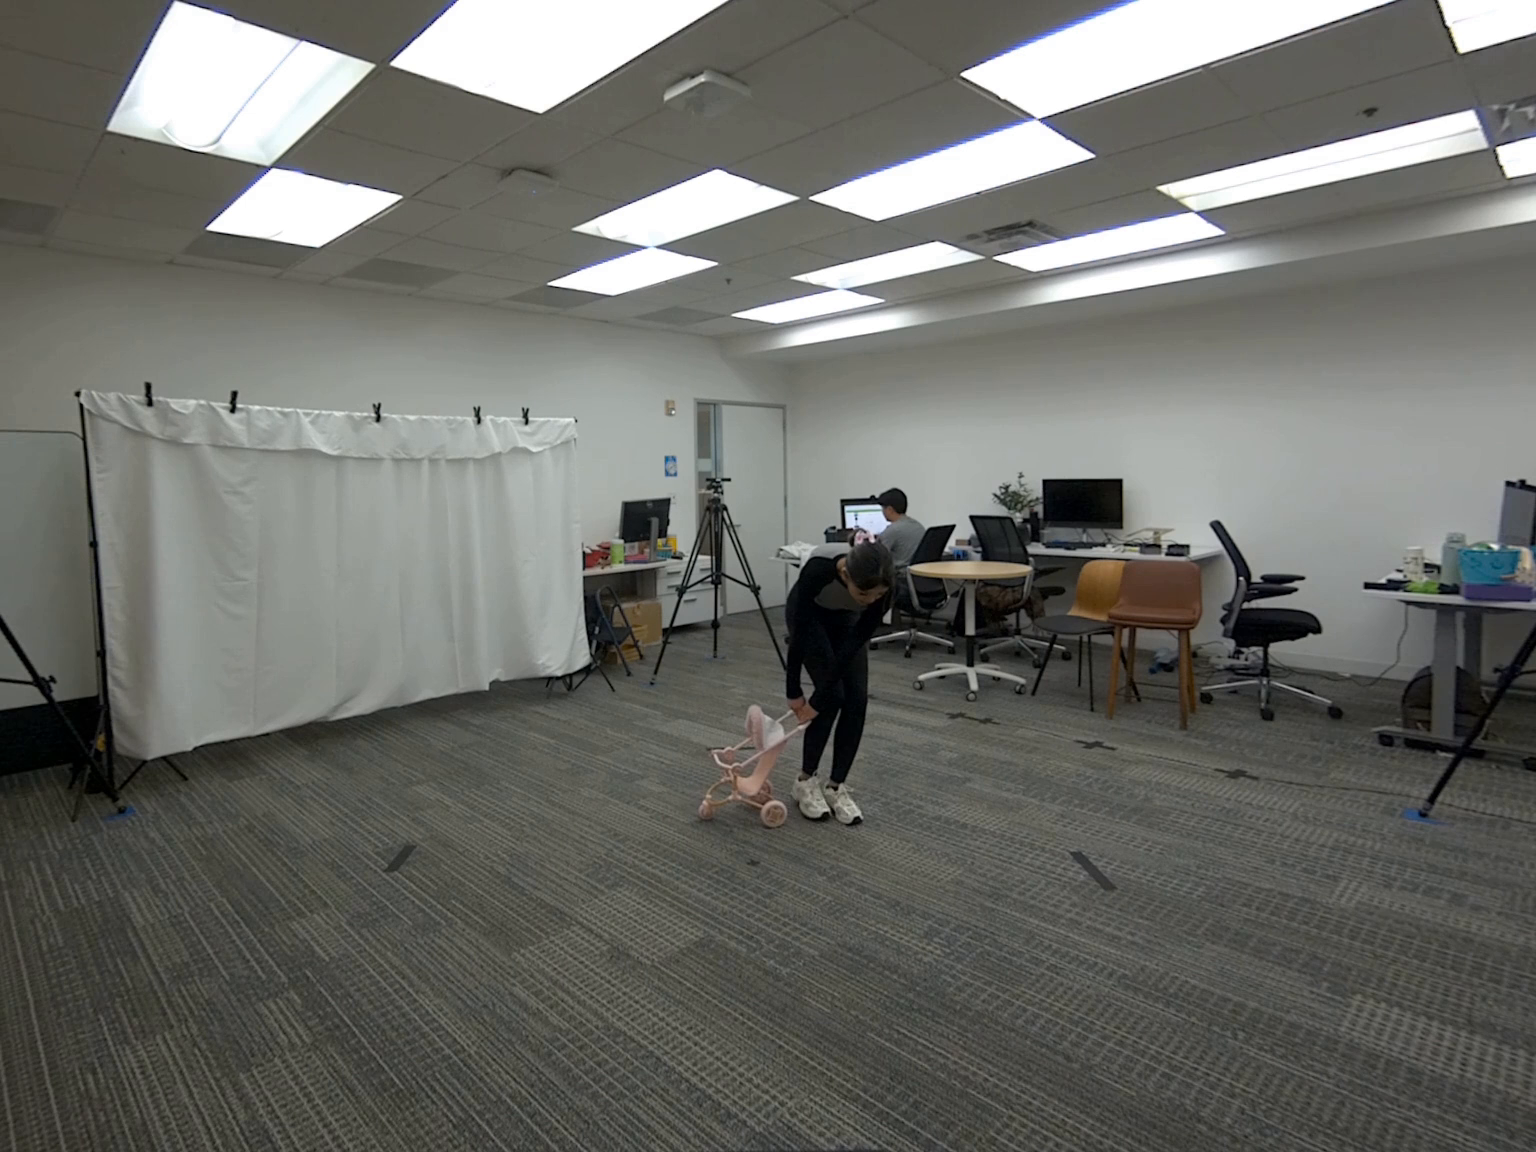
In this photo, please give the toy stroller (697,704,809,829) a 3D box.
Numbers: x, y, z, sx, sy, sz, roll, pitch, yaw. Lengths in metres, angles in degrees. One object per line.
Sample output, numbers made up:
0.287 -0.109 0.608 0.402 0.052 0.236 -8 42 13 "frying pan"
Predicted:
-0.072 0.767 3.511 0.339 0.533 0.284 15 4 -7 "toy stroller"
